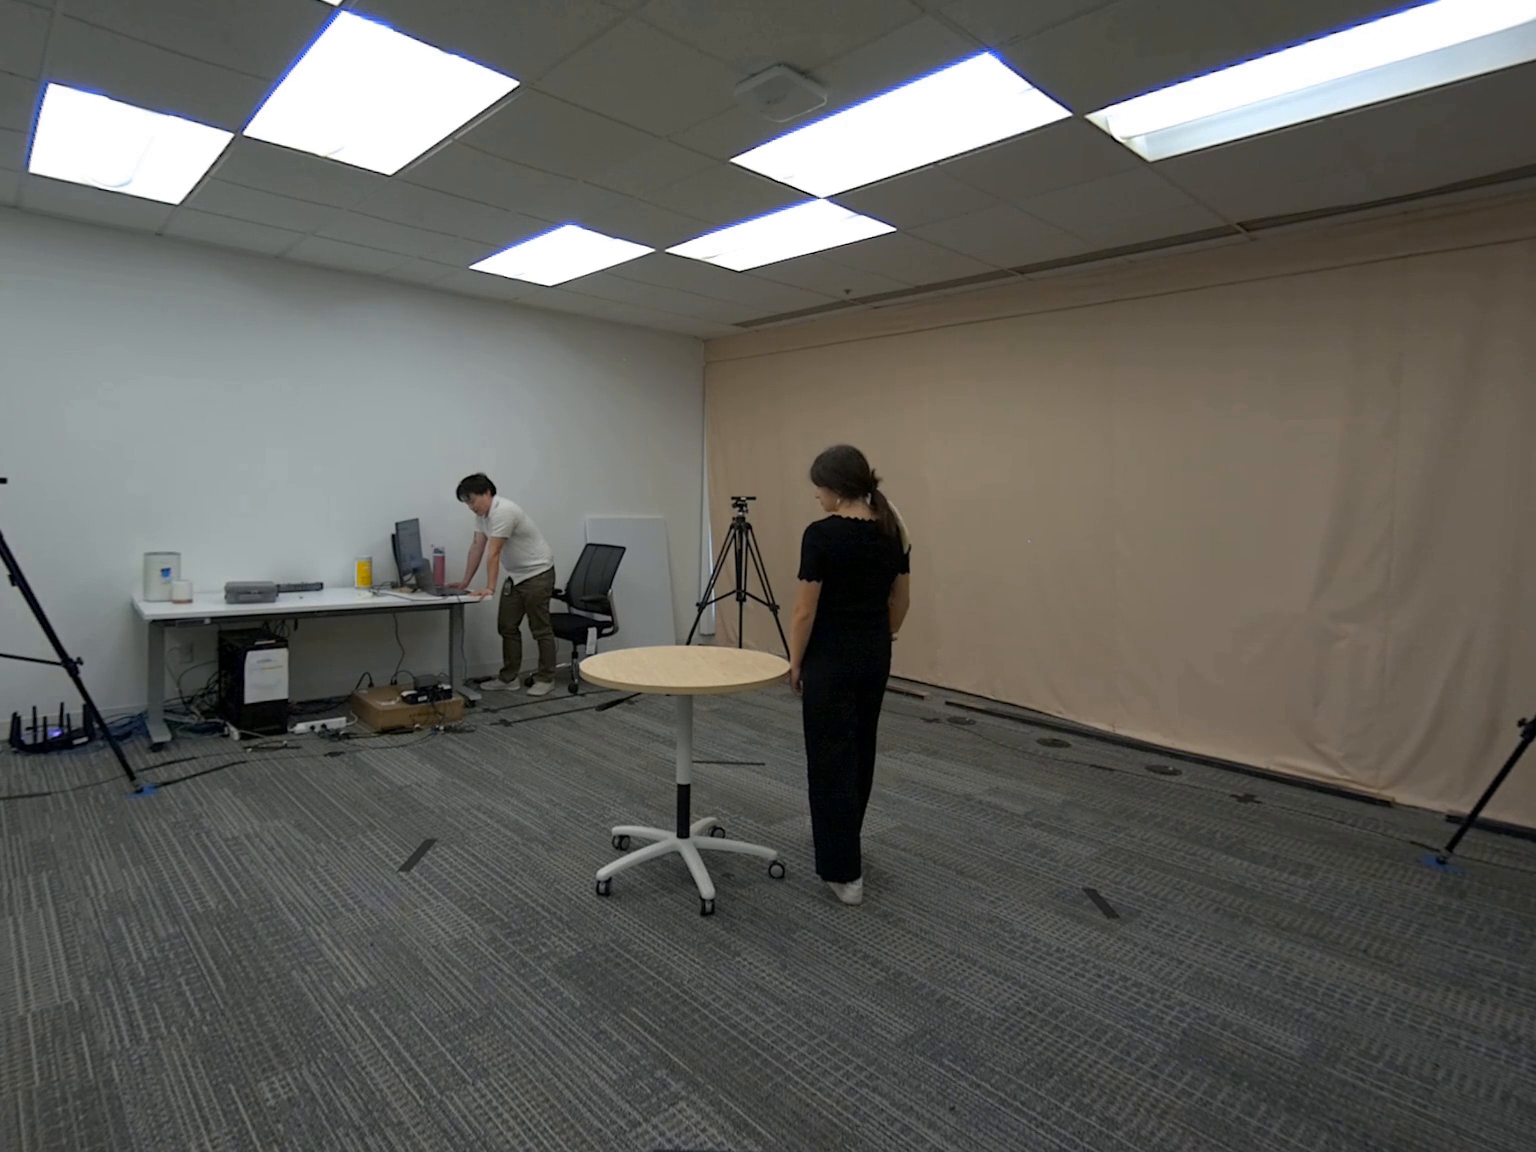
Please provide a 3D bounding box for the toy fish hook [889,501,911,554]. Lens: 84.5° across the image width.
[{"bbox_3d":[0.446,-0.014,3.066,0.047,0.505,0.229,-10,5,-32],"label":"toy fish hook"}]
